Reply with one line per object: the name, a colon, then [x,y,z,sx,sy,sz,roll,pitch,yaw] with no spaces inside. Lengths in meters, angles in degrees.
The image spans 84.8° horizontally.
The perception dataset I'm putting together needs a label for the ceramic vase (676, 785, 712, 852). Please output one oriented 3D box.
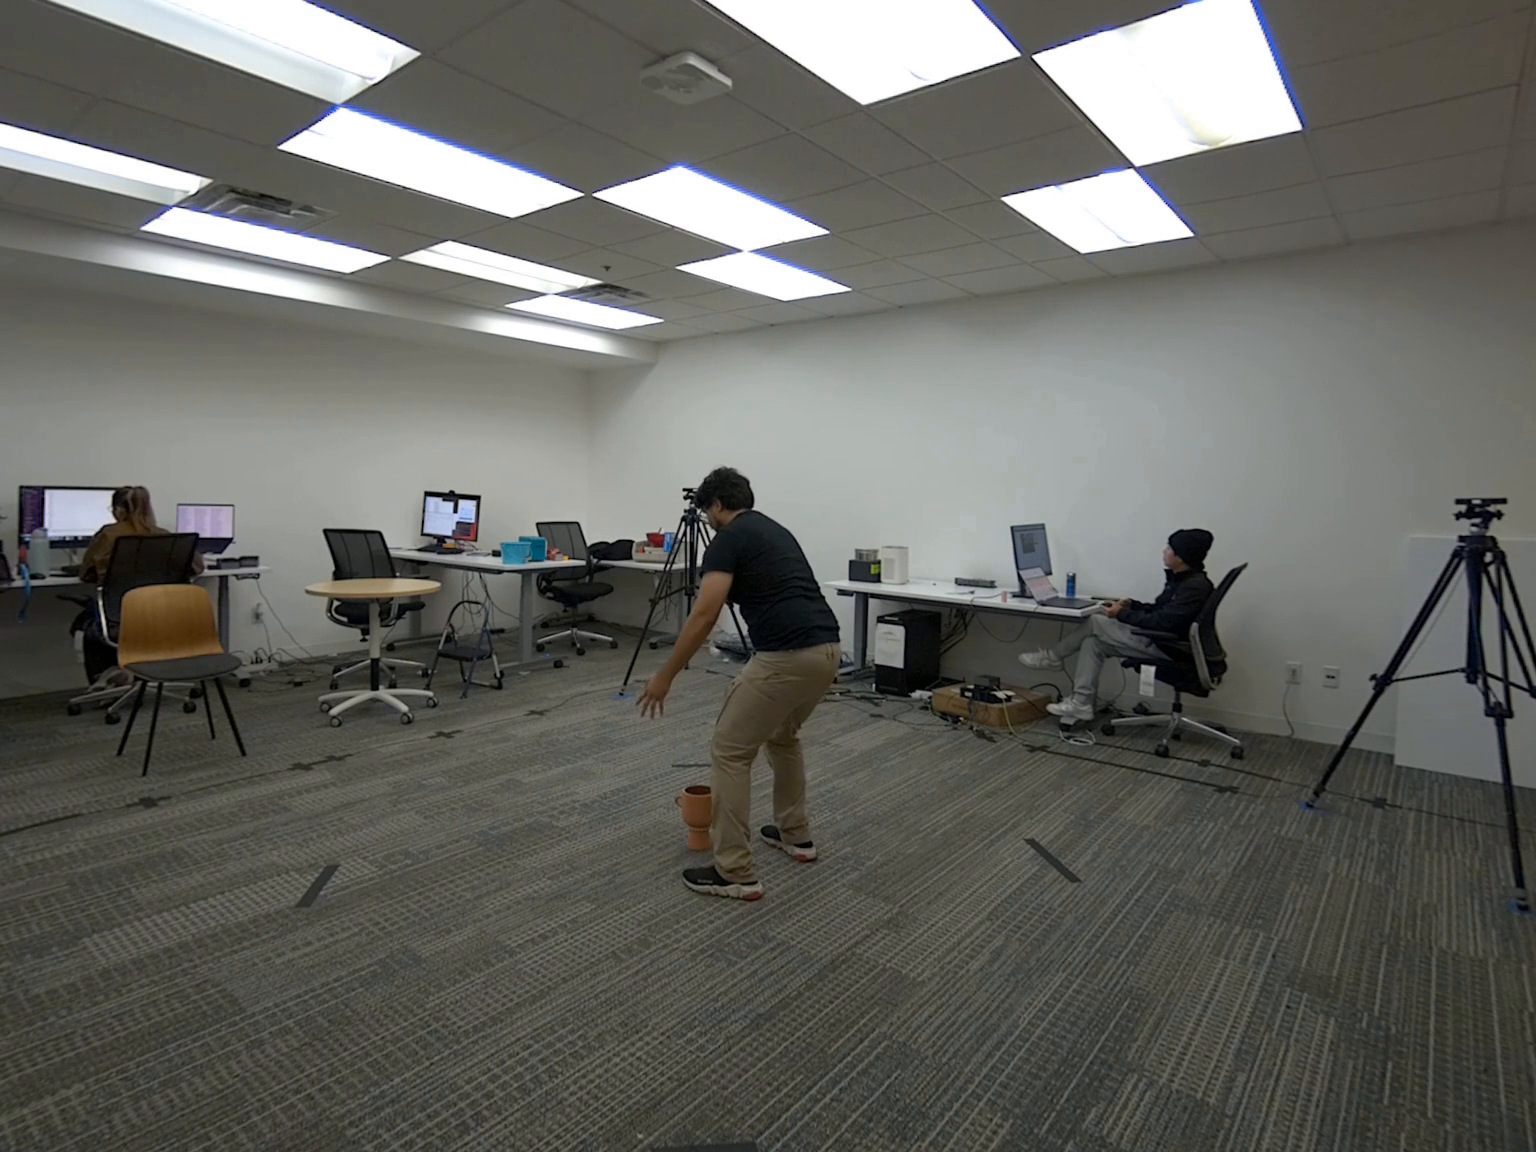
ceramic vase: [-0.282,0.937,3.320,0.130,0.219,0.164,-1,4,-41]
